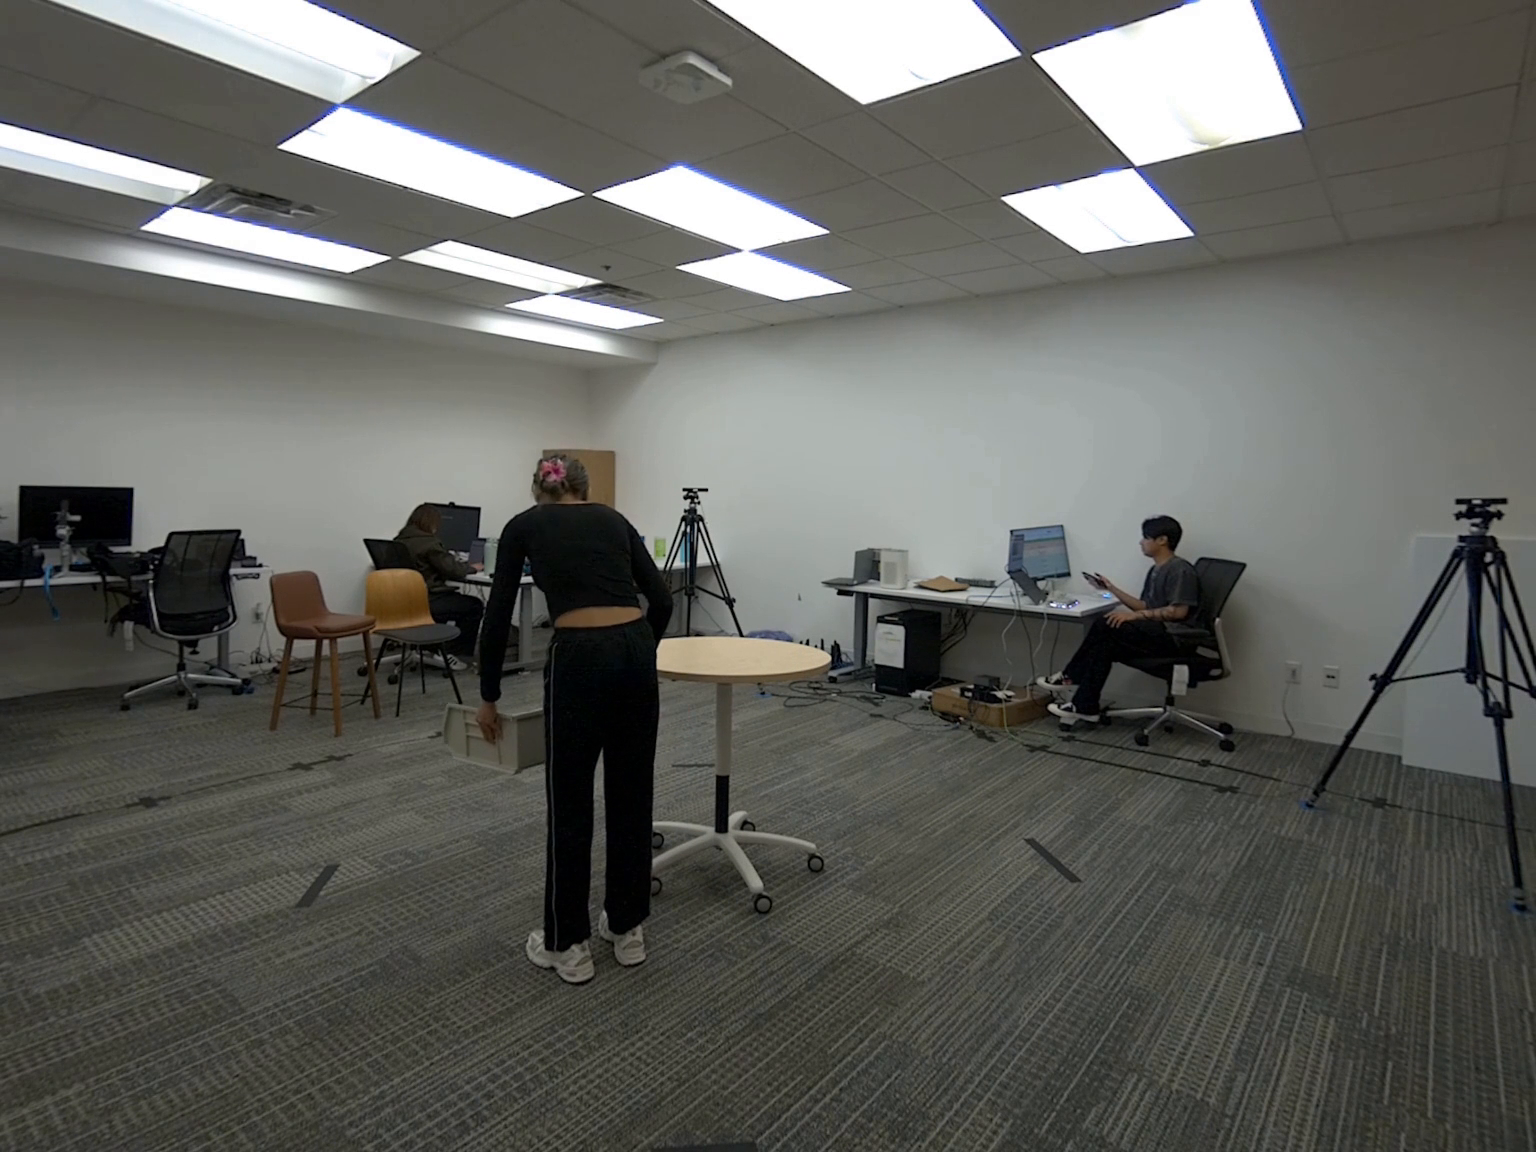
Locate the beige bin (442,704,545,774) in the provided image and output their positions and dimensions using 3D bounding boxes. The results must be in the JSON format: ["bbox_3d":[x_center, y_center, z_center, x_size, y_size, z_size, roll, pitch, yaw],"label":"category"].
[{"bbox_3d":[-0.793,0.488,2.779,0.389,0.189,0.410,3,4,37],"label":"beige bin"}]
